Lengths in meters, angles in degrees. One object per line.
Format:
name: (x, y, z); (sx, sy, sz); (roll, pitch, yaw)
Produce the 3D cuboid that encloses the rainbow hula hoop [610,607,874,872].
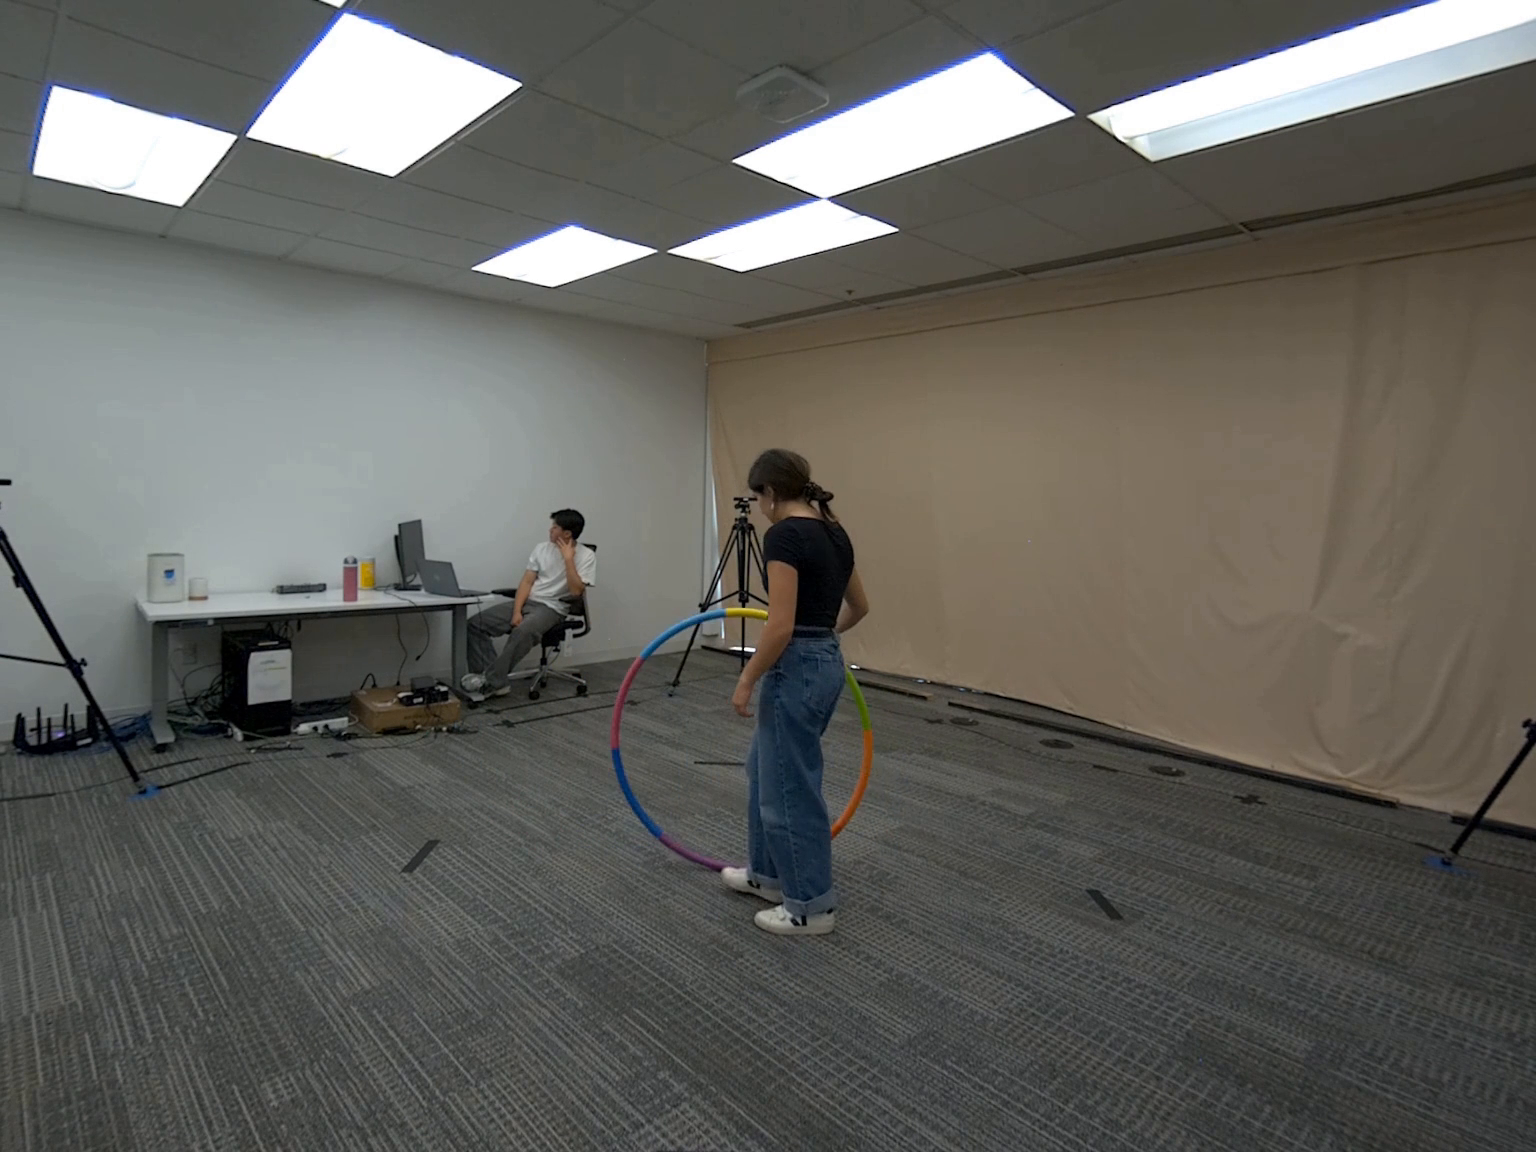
rainbow hula hoop: (-0.122, 0.620, 3.165); (0.984, 0.980, 0.035); (2, -2, 7)
